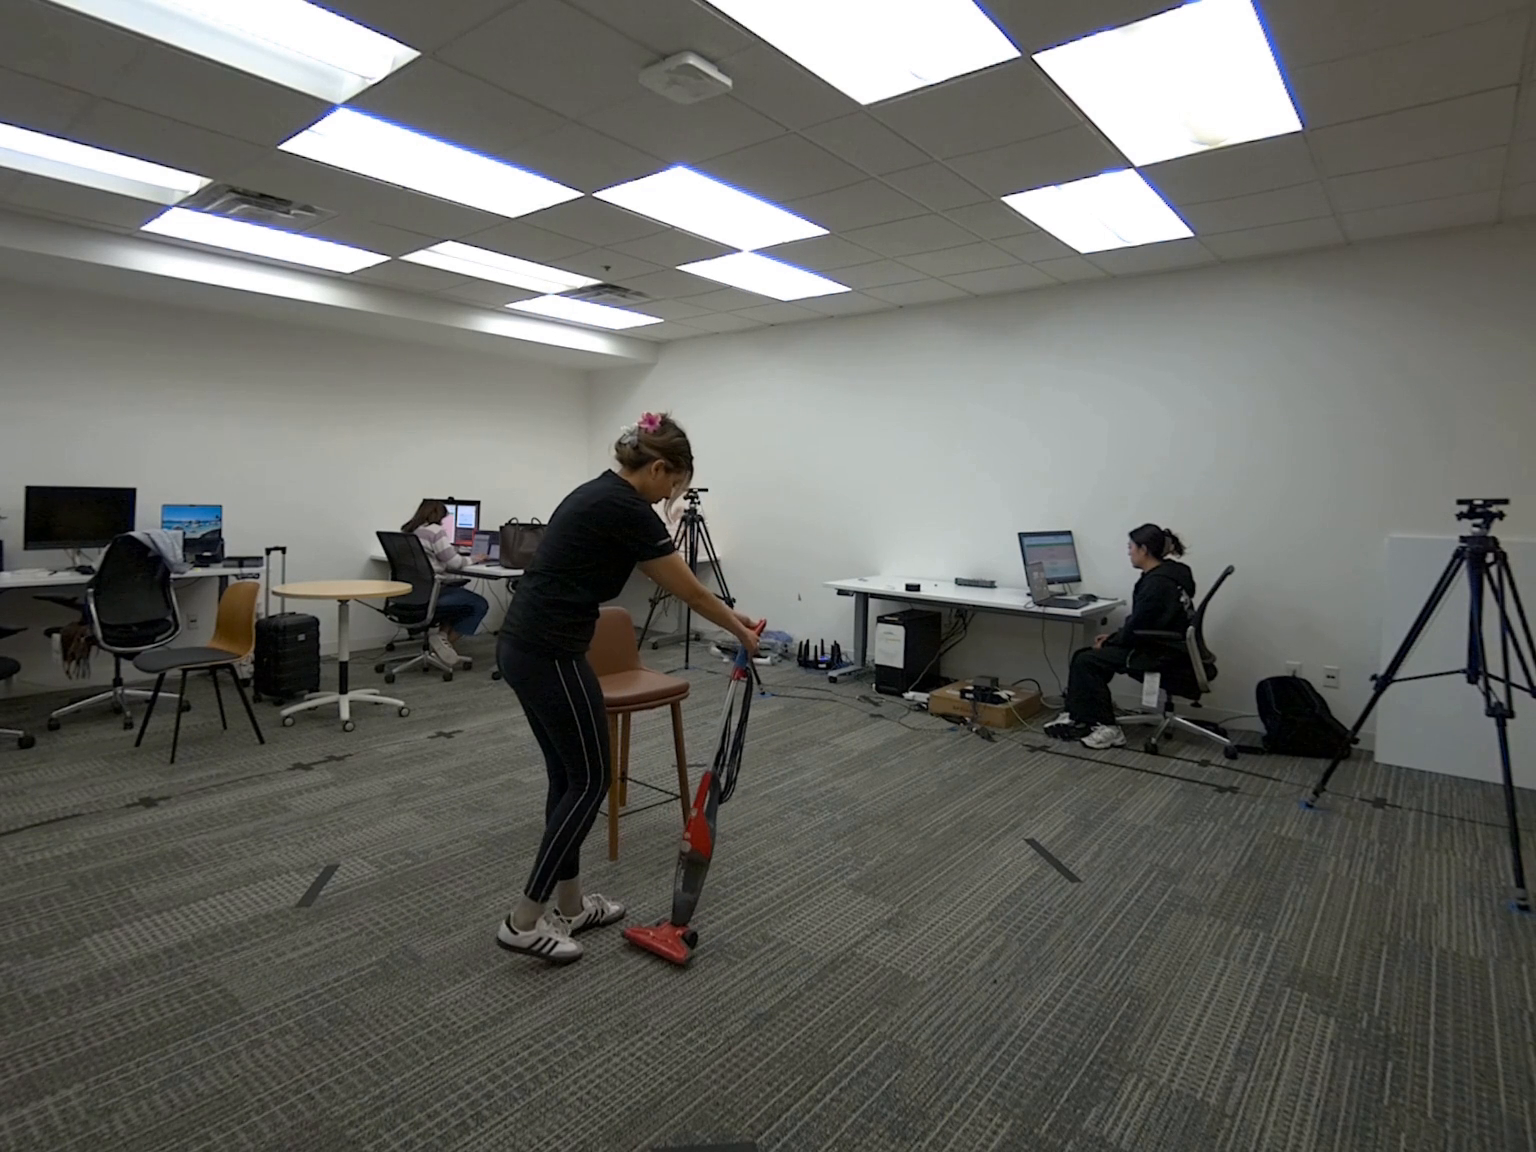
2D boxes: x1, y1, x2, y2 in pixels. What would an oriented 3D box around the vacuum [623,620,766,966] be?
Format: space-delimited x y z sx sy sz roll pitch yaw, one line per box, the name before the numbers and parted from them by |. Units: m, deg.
vacuum | -0.176 0.642 2.726 0.260 1.061 0.138 0 -26 38
